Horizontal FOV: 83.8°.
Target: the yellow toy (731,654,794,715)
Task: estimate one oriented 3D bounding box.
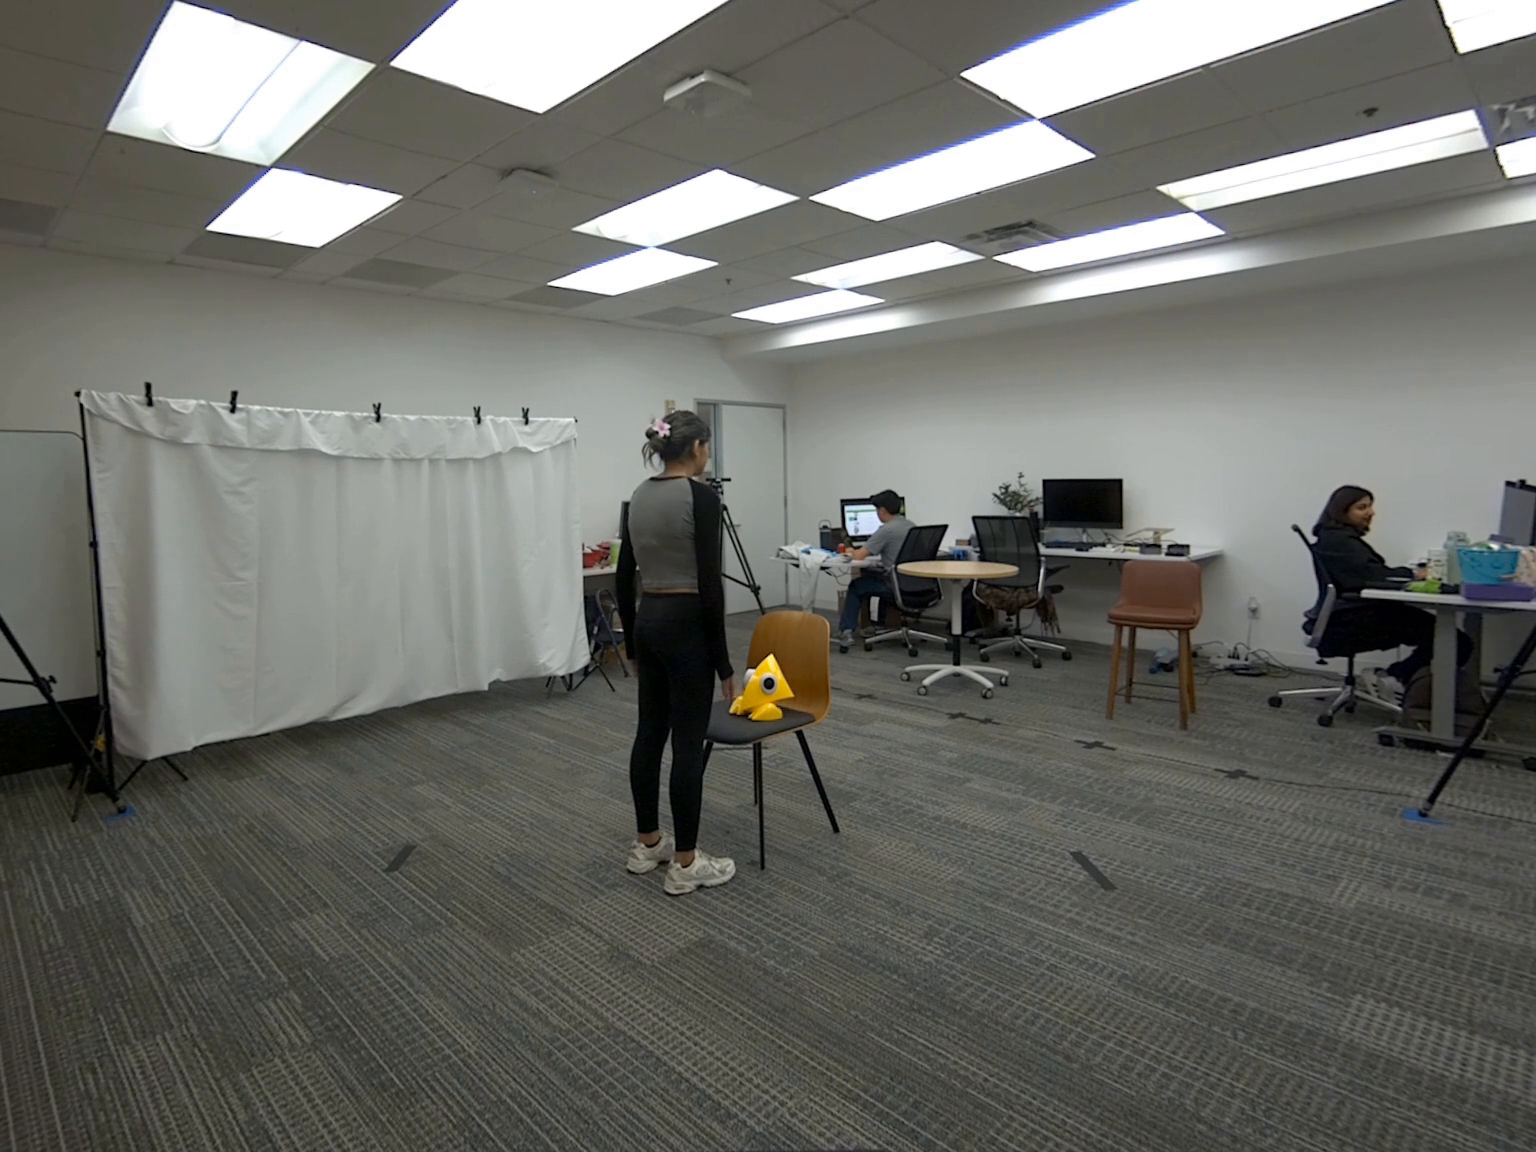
[{"bbox_3d":[-0.038,0.430,3.336,0.187,0.230,0.211,1,3,-43],"label":"yellow toy"}]
